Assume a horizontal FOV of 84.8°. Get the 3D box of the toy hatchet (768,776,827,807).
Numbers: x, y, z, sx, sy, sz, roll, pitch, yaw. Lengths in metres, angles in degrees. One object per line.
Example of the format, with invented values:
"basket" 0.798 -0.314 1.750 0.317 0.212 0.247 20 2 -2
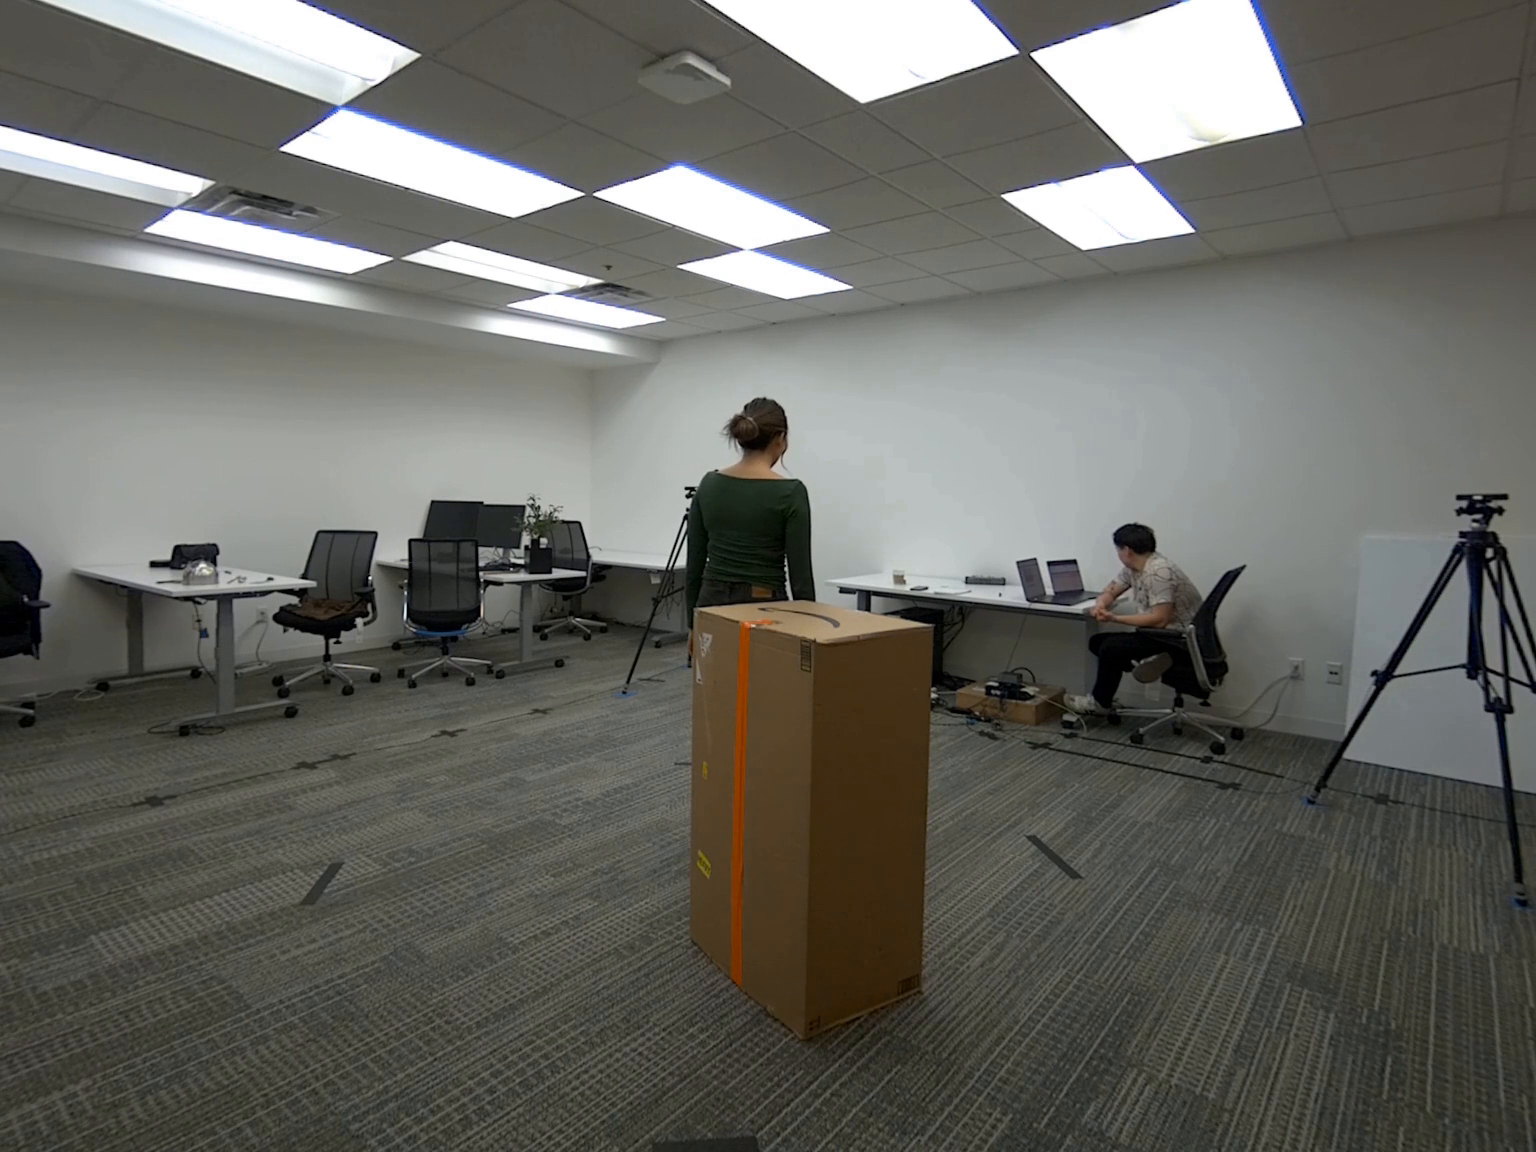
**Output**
"toy hatchet" 0.133 0.979 3.835 0.135 0.029 0.262 6 9 40
